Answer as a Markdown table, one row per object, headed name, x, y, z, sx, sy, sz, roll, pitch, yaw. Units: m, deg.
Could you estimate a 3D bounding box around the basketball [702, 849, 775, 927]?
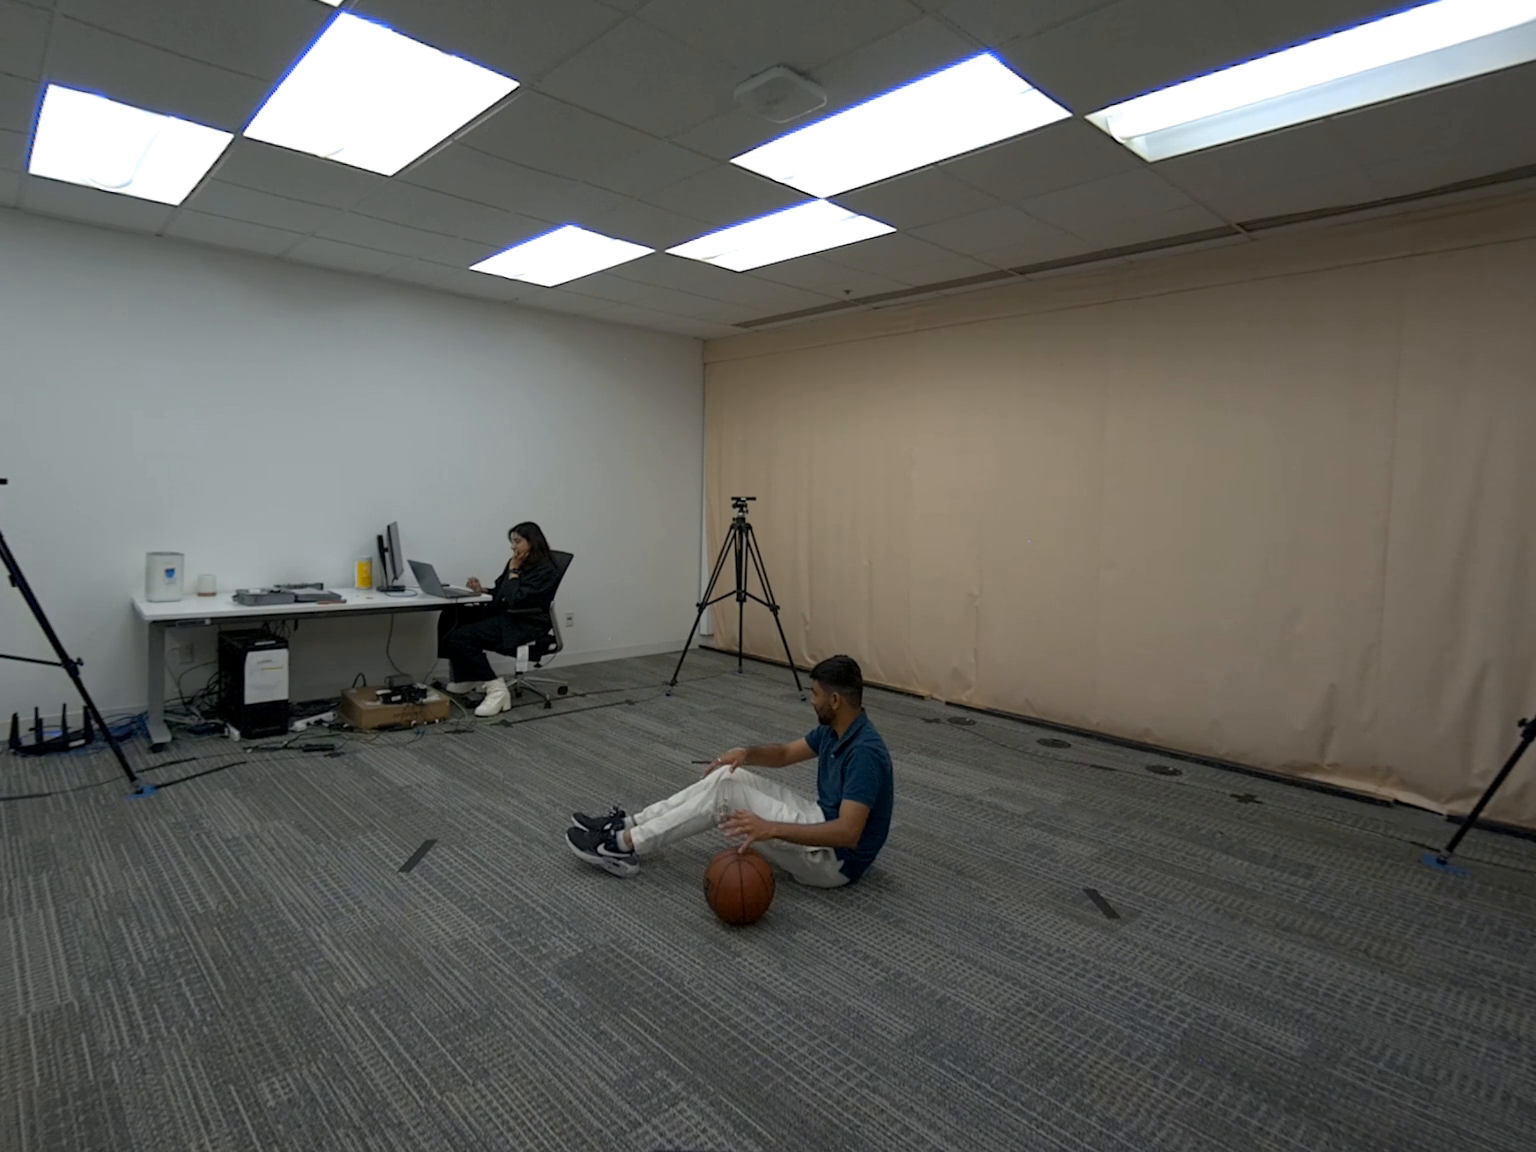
| name | x | y | z | sx | sy | sz | roll | pitch | yaw |
| --- | --- | --- | --- | --- | --- | --- | --- | --- | --- |
| basketball | -0.108 | 1.016 | 2.775 | 0.236 | 0.235 | 0.237 | 1 | 4 | -1 |
